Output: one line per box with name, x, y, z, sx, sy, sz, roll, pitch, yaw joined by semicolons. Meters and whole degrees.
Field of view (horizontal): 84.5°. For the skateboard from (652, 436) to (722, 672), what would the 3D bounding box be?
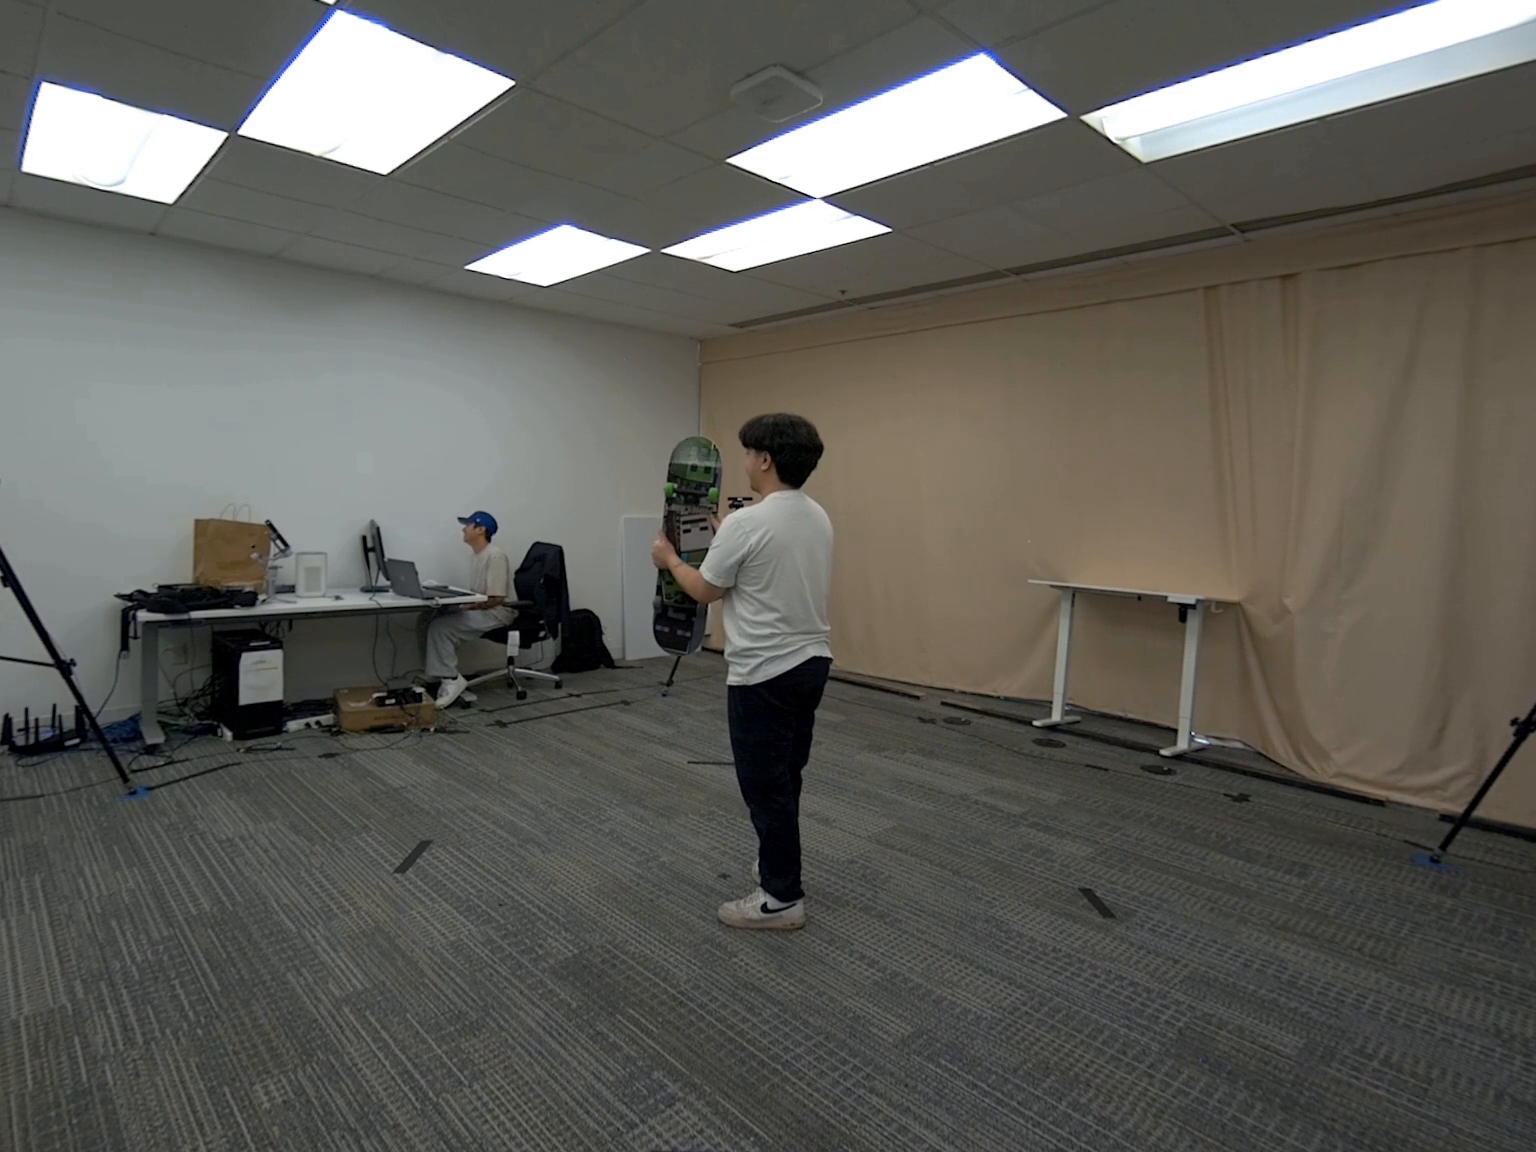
skateboard;-0.292;-0.093;2.948;0.195;0.782;0.110;7;6;7
